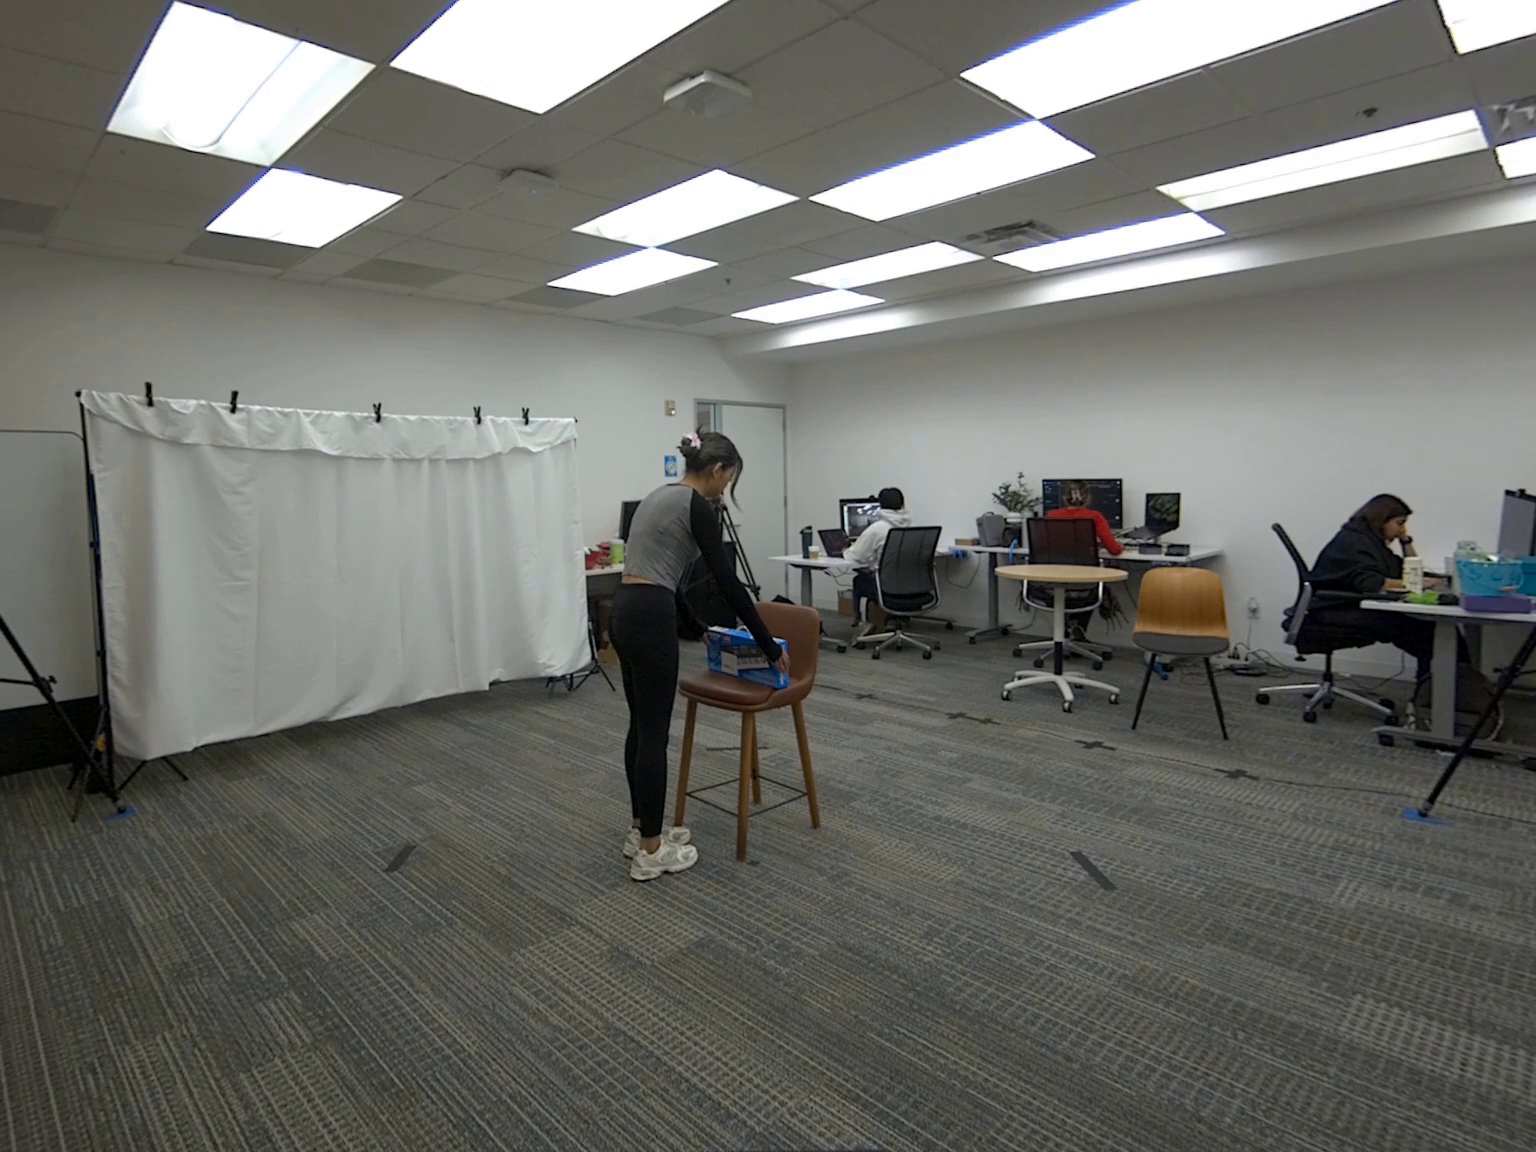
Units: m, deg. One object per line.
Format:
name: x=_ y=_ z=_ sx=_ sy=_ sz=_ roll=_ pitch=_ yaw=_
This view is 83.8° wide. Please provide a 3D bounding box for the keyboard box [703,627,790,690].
keyboard box: x=-0.089 y=0.314 z=3.359 sx=0.058 sy=0.175 sz=0.450 roll=-8 pitch=9 yaw=-37
